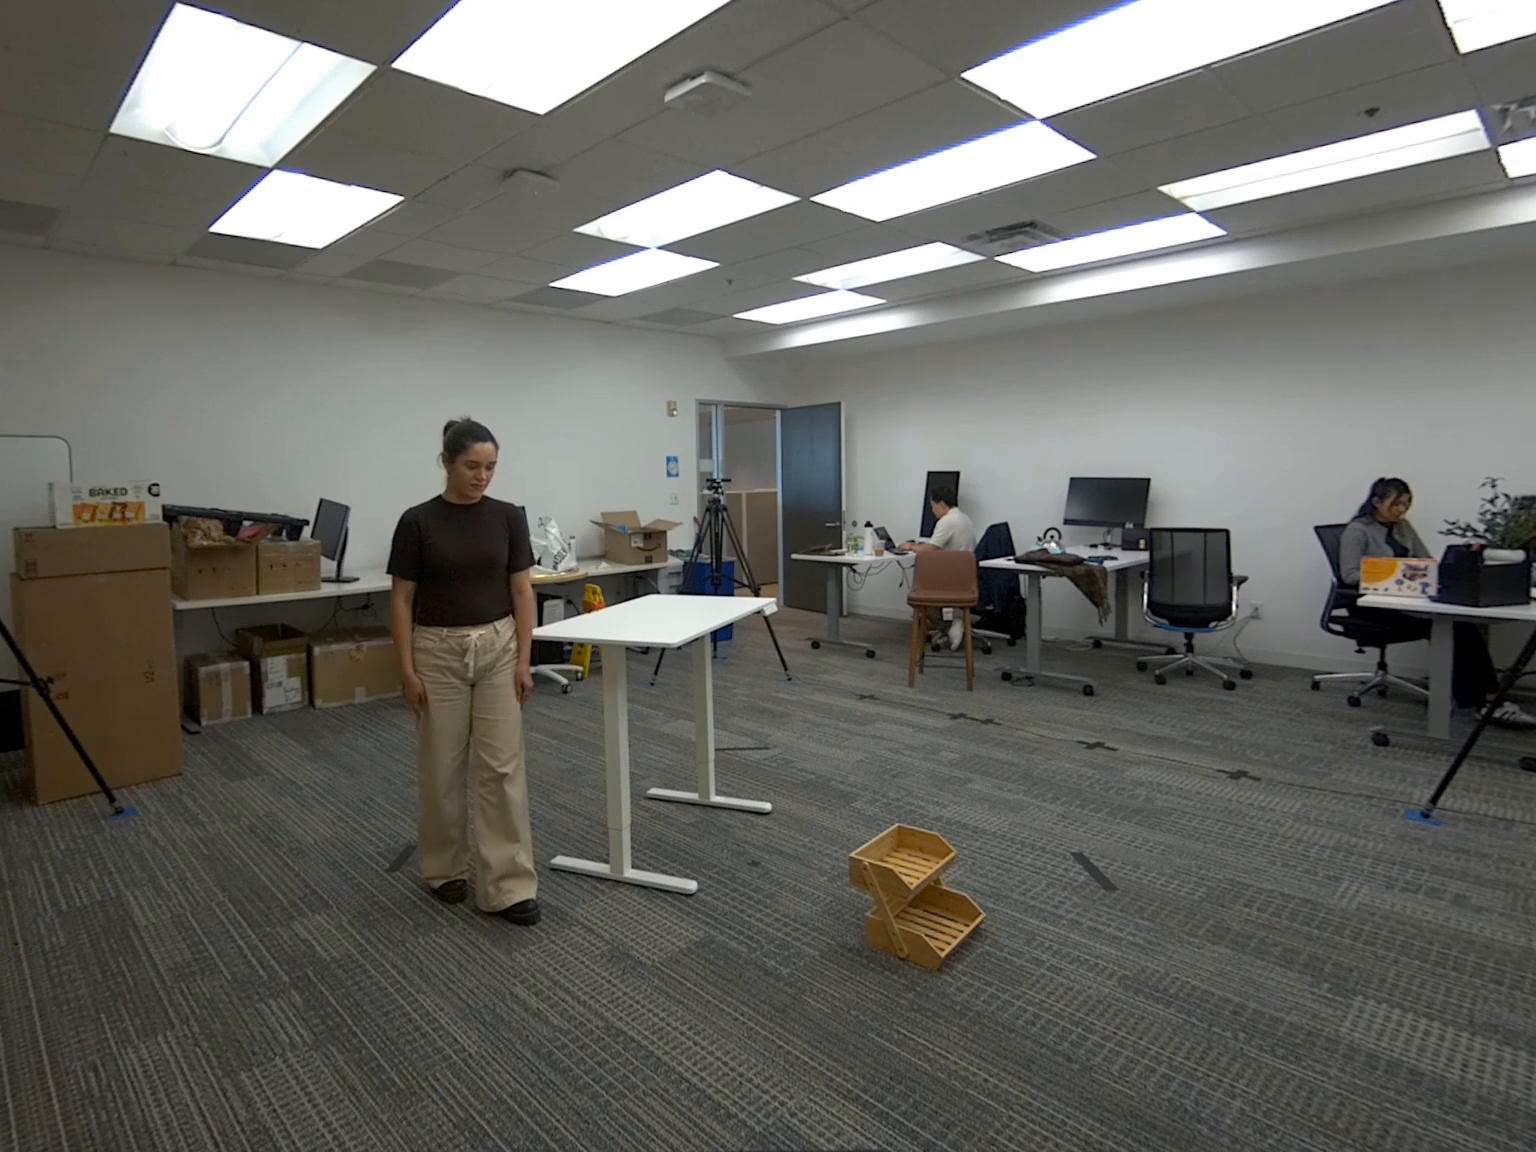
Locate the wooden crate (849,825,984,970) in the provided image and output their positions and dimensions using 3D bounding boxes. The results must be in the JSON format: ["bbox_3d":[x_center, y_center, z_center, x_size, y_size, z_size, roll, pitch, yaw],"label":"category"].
[{"bbox_3d":[0.455,0.955,2.597,0.311,0.272,0.316,2,7,39],"label":"wooden crate"}]
